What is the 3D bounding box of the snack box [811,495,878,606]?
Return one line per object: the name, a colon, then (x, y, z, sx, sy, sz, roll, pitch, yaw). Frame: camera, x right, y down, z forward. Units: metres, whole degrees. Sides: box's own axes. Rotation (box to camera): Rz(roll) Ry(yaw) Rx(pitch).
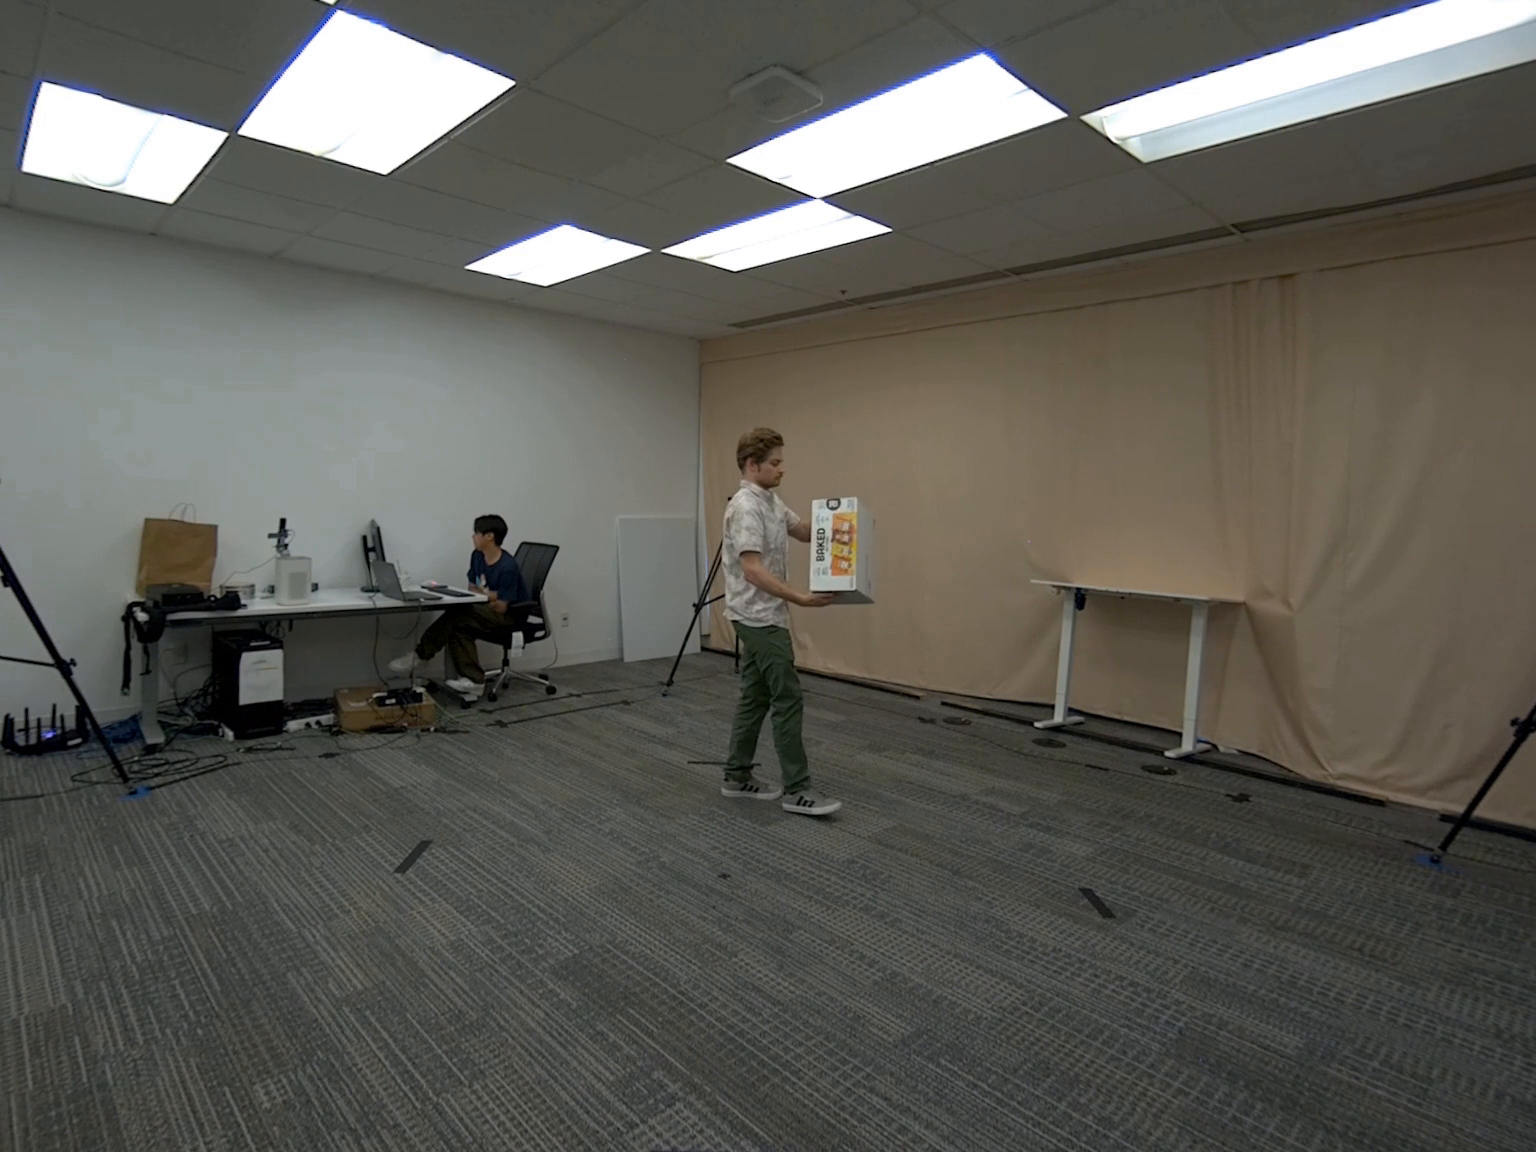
snack box: (0.338, -0.106, 3.726, 0.209, 0.409, 0.332, -4, -15, 20)
